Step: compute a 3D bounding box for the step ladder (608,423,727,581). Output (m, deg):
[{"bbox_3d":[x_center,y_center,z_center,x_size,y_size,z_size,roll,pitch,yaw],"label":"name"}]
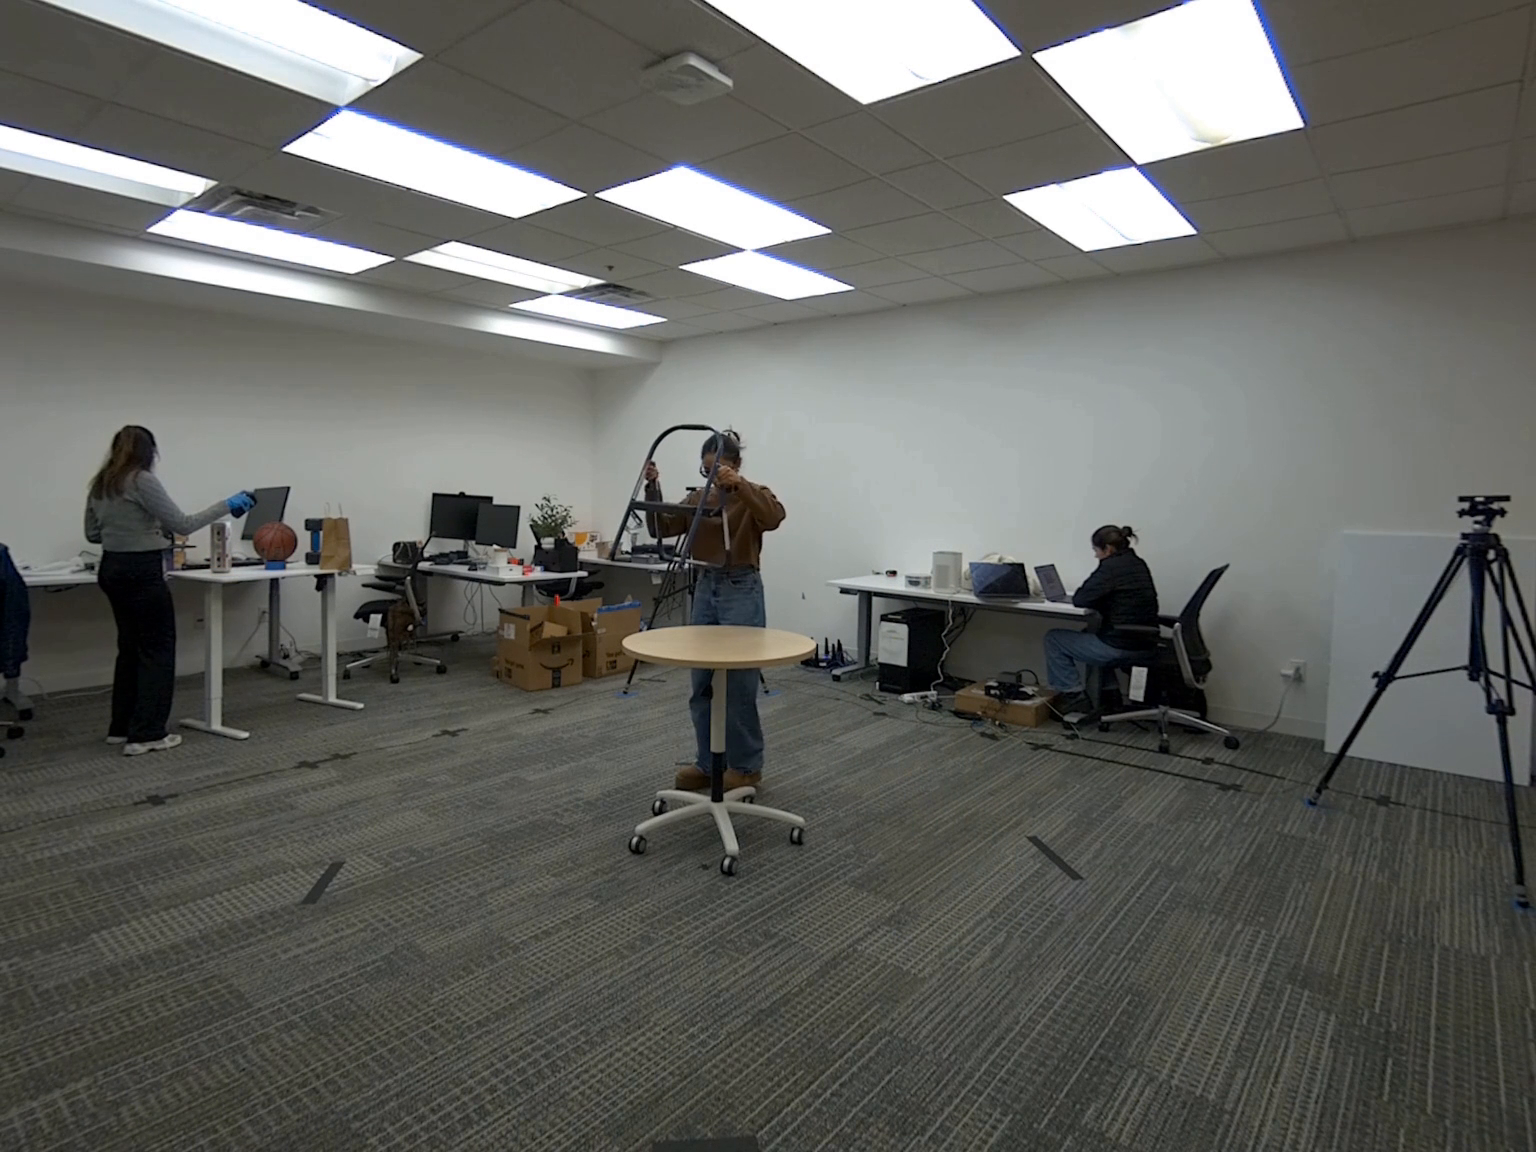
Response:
[{"bbox_3d":[-0.394,-0.347,3.595,0.445,0.604,0.338,8,4,36],"label":"step ladder"}]
